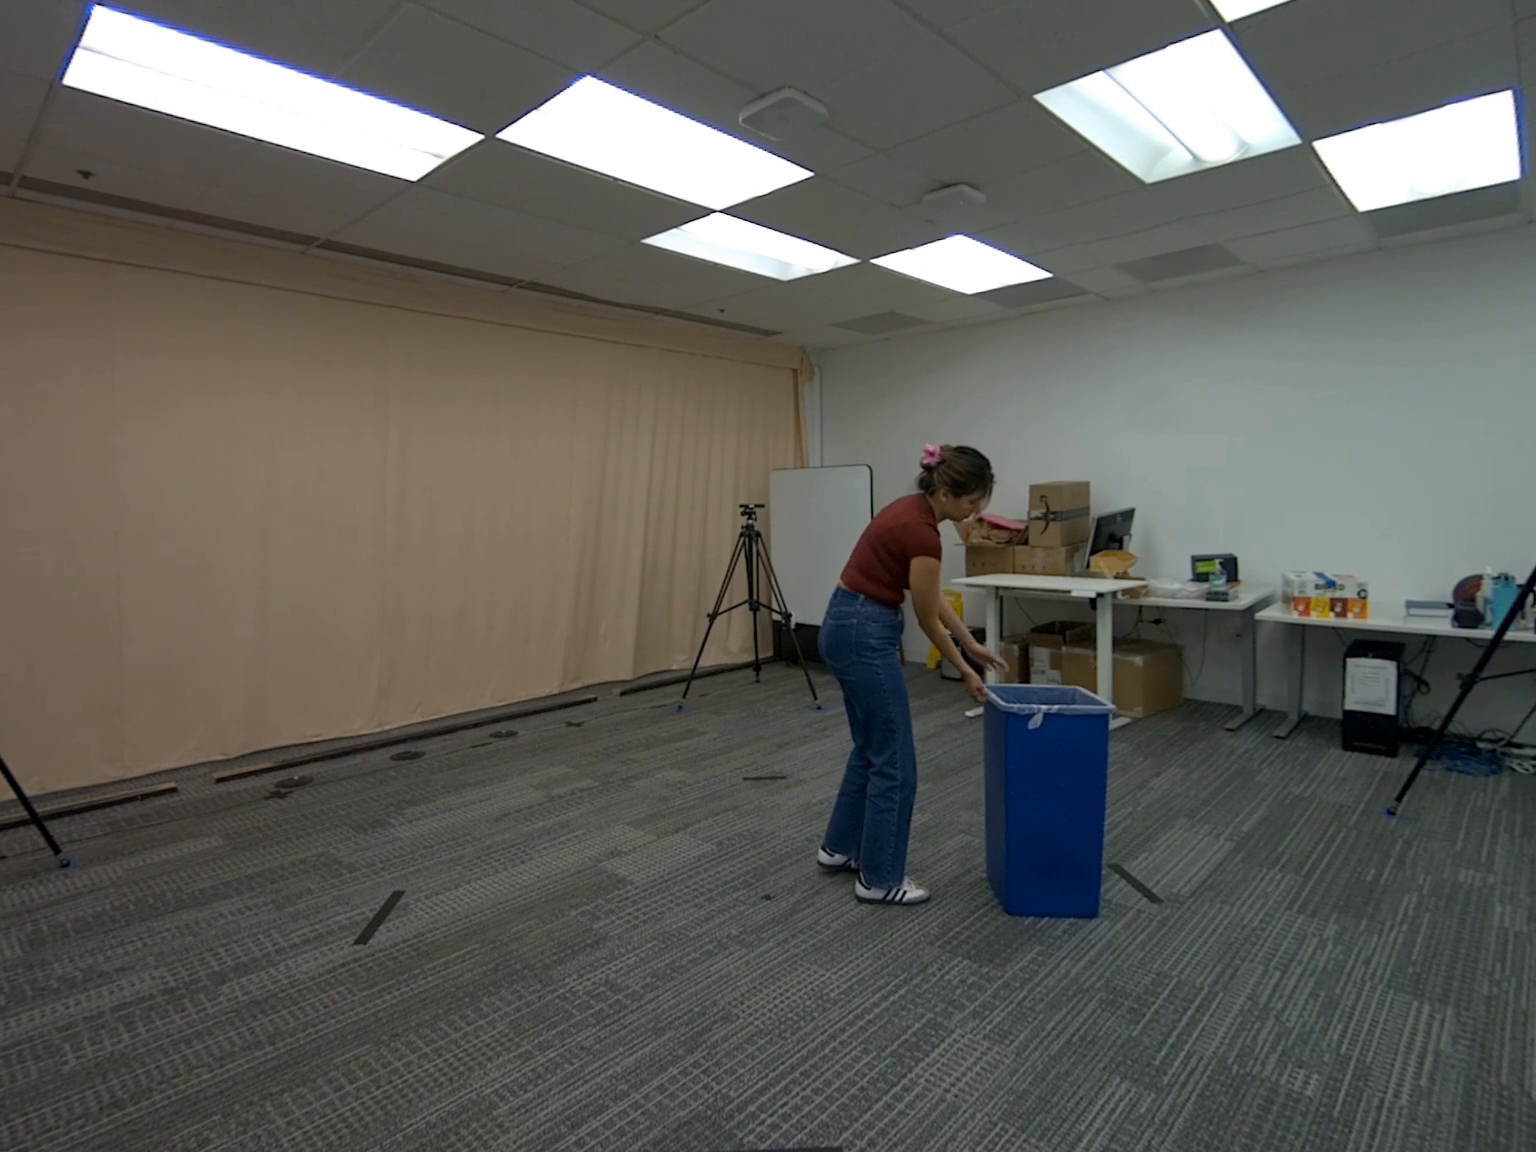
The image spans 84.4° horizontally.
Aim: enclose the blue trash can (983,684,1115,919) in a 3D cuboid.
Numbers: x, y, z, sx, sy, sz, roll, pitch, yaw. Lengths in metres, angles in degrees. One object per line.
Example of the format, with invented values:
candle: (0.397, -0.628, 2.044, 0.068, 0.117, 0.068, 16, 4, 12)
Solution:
blue trash can: (0.956, 0.771, 2.937, 0.379, 0.712, 0.374, 0, 4, 2)
